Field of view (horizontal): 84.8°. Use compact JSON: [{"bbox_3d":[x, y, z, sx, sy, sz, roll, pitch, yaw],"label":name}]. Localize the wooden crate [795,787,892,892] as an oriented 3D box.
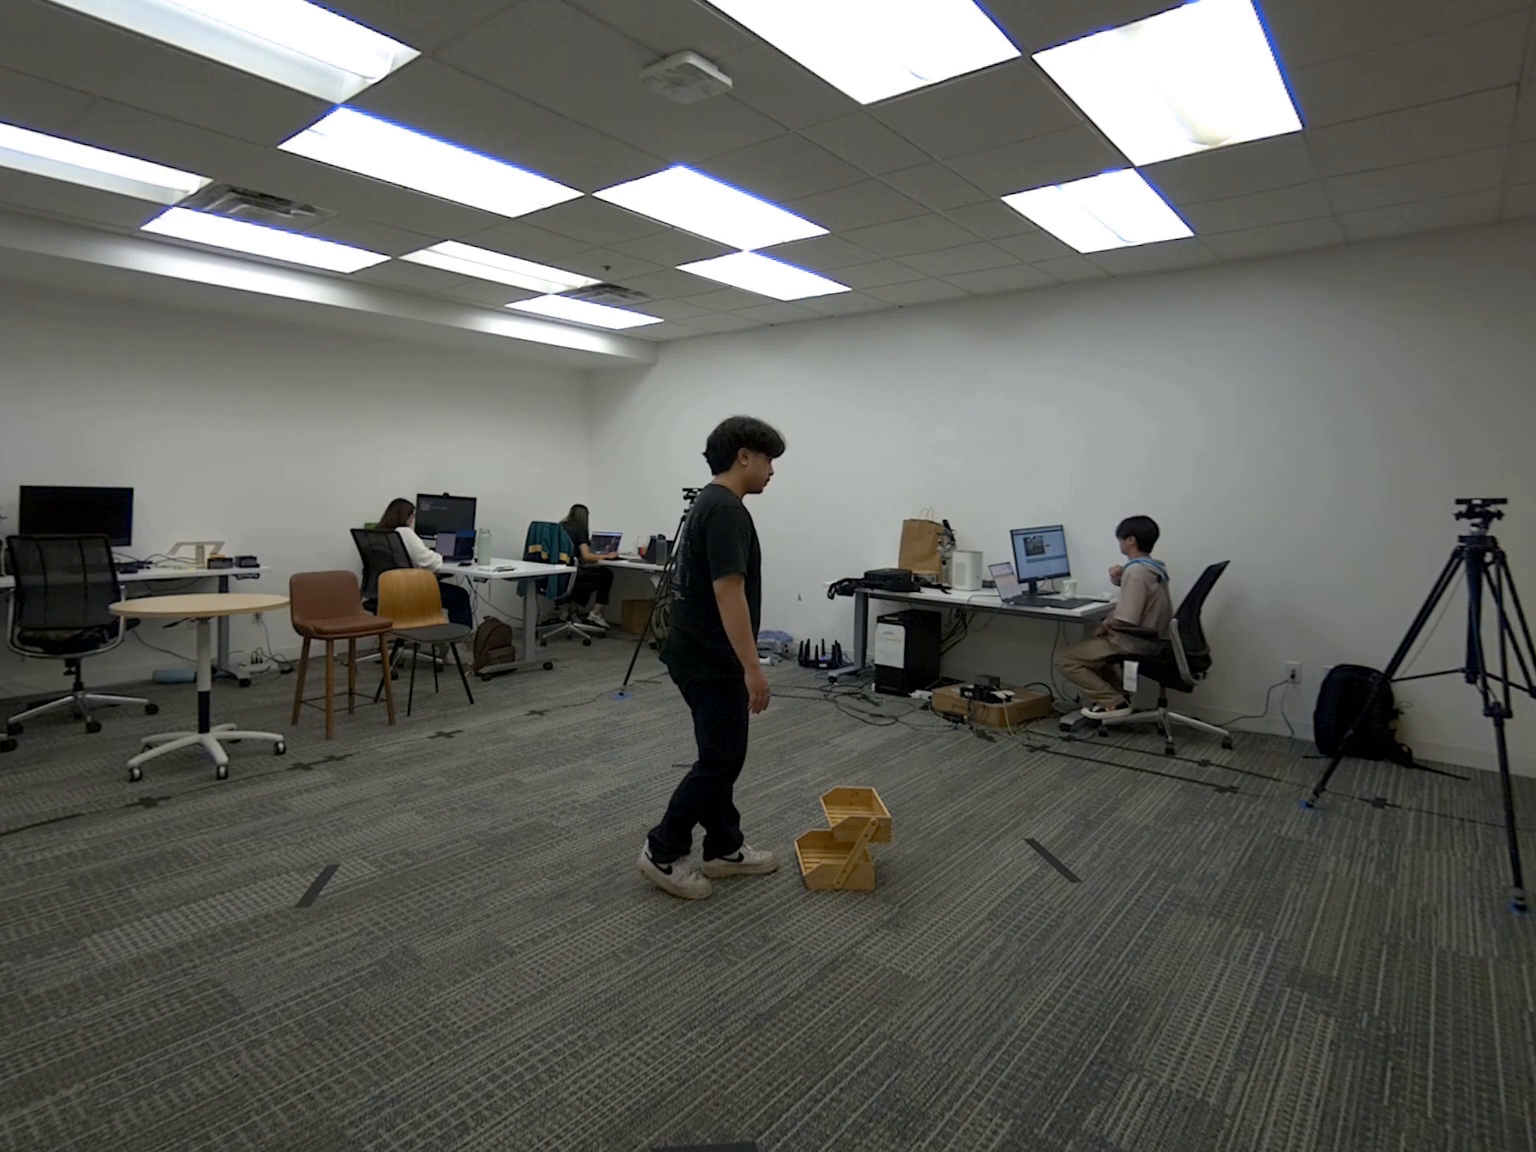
[{"bbox_3d":[0.253,0.950,3.115,0.301,0.272,0.327,1,4,-4],"label":"wooden crate"}]
